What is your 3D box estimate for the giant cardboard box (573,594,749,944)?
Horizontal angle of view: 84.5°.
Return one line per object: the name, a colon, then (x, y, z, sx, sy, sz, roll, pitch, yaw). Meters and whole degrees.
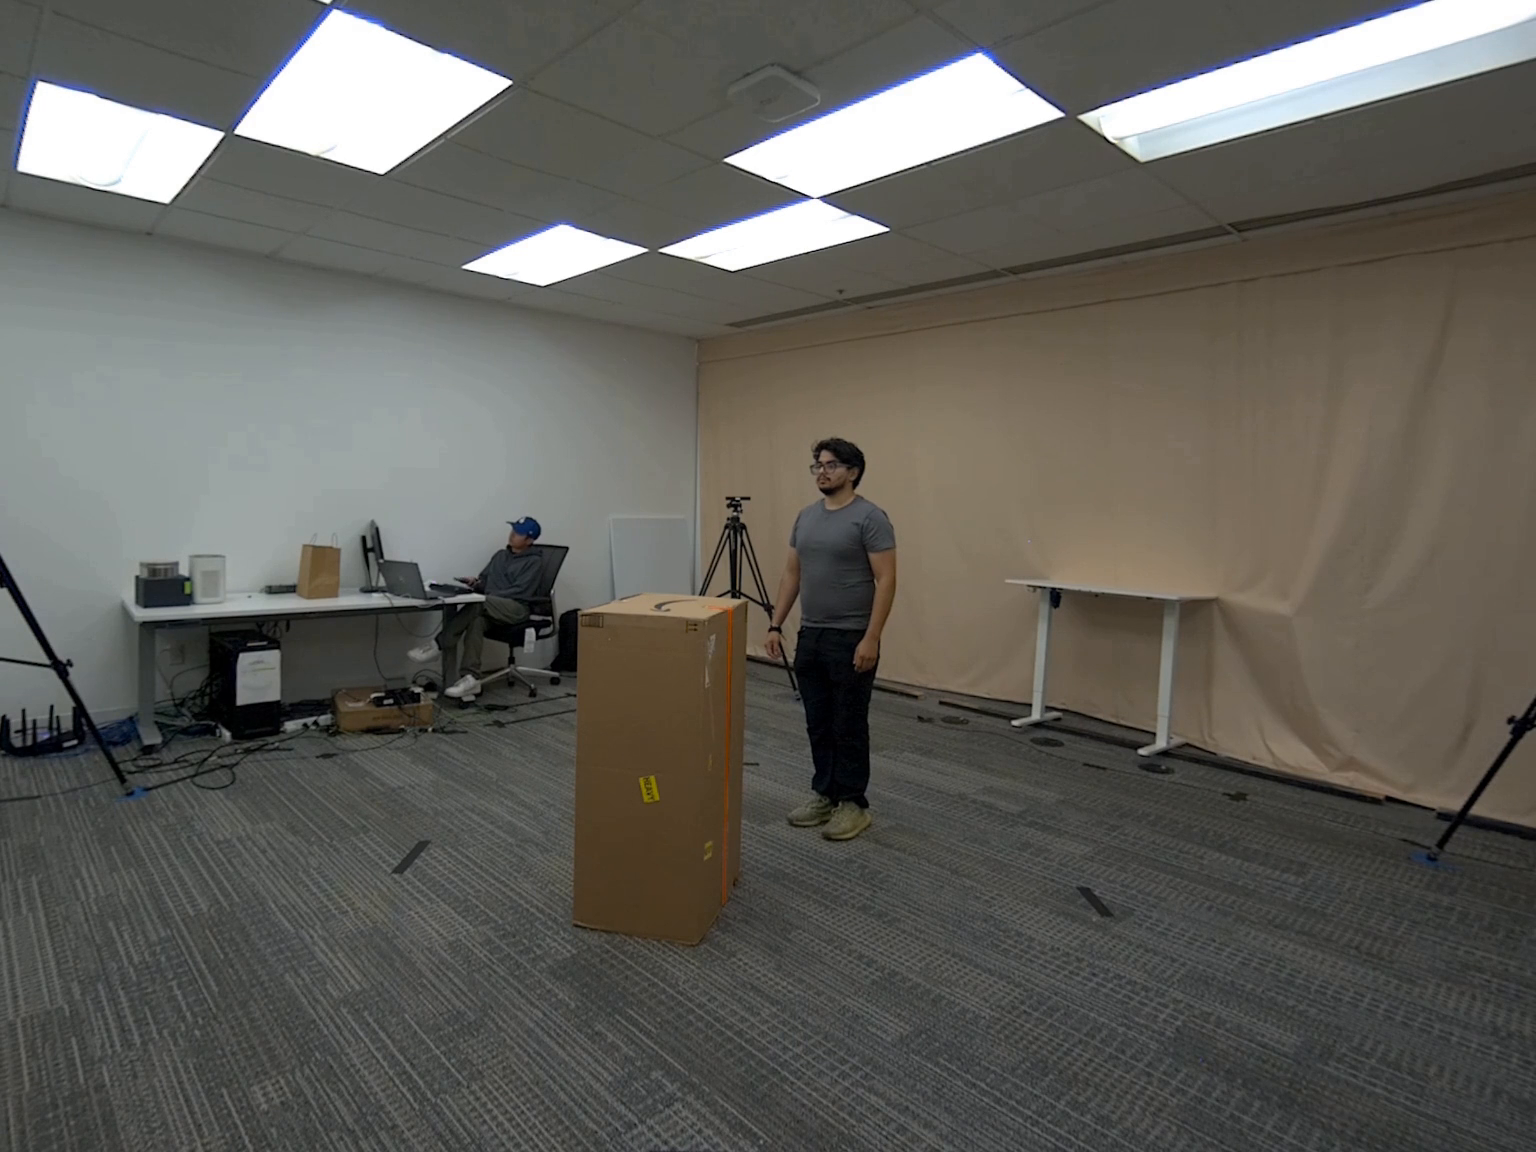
giant cardboard box: (-0.352, 0.609, 2.911, 0.431, 1.024, 0.572, 2, 3, 13)
